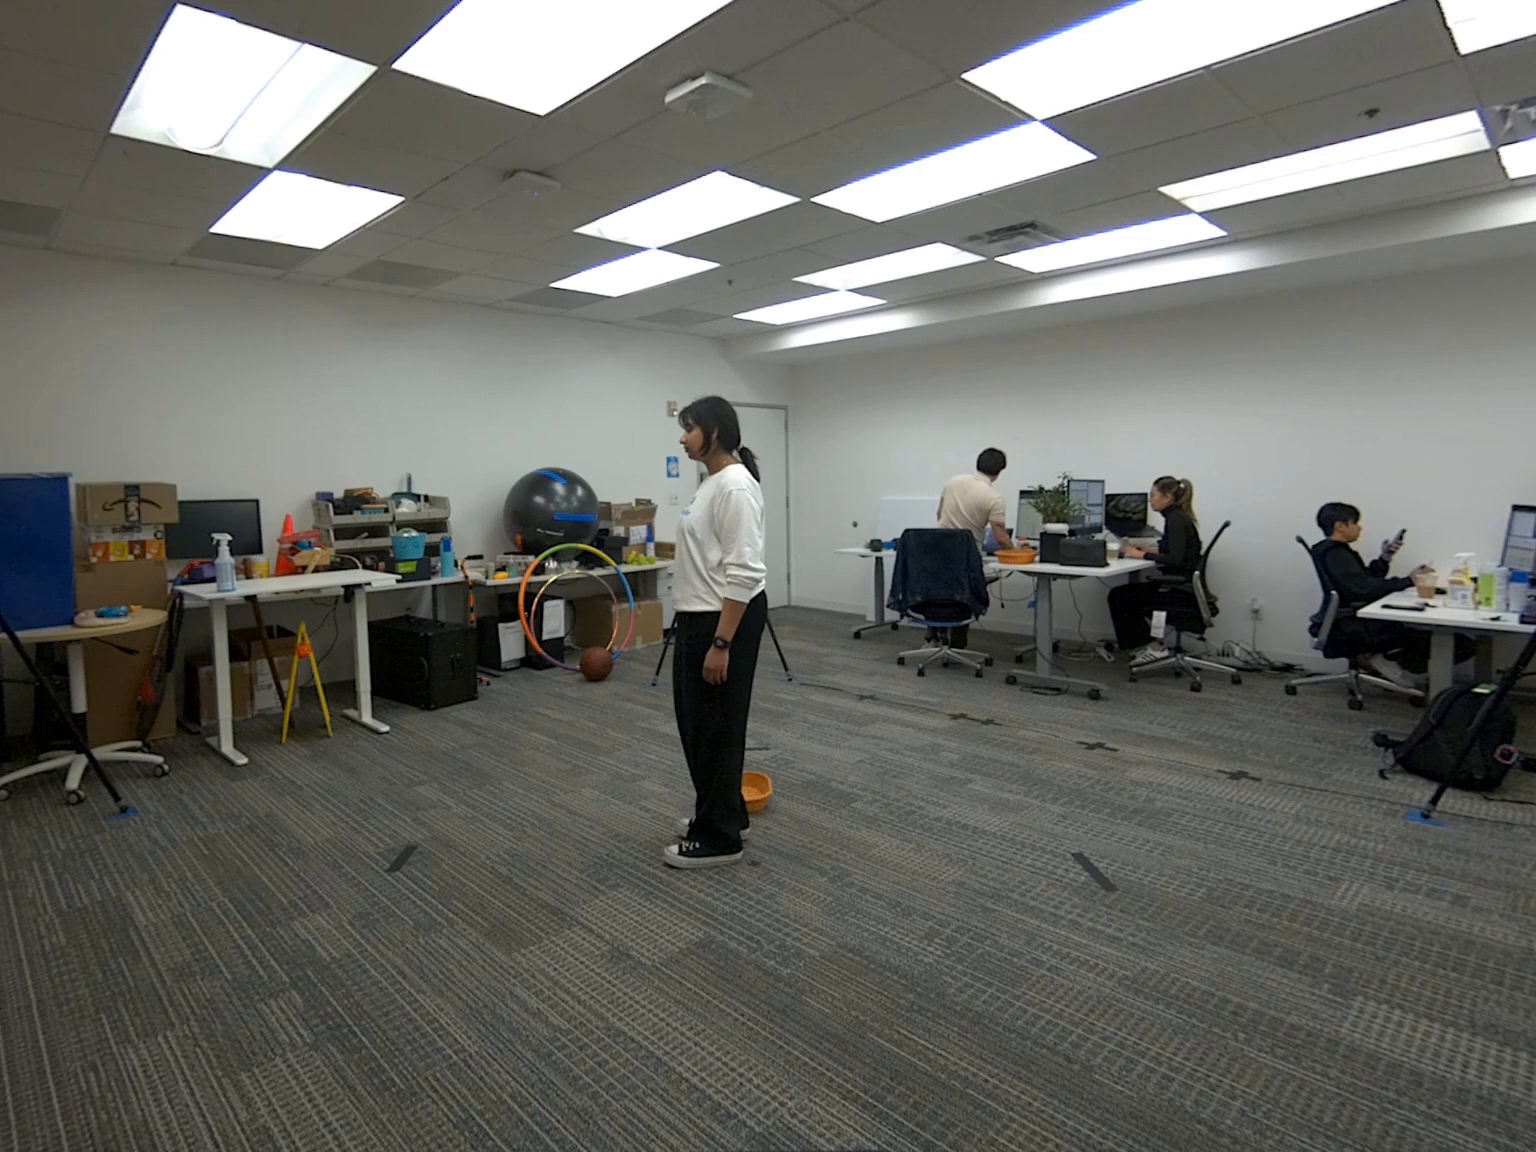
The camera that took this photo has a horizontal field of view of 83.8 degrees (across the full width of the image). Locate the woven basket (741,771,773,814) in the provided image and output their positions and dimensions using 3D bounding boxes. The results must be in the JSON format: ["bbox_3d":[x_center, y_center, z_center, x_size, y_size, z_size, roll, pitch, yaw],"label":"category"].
[{"bbox_3d":[-0.104,0.938,3.712,0.253,0.073,0.352,-2,7,0],"label":"woven basket"}]
